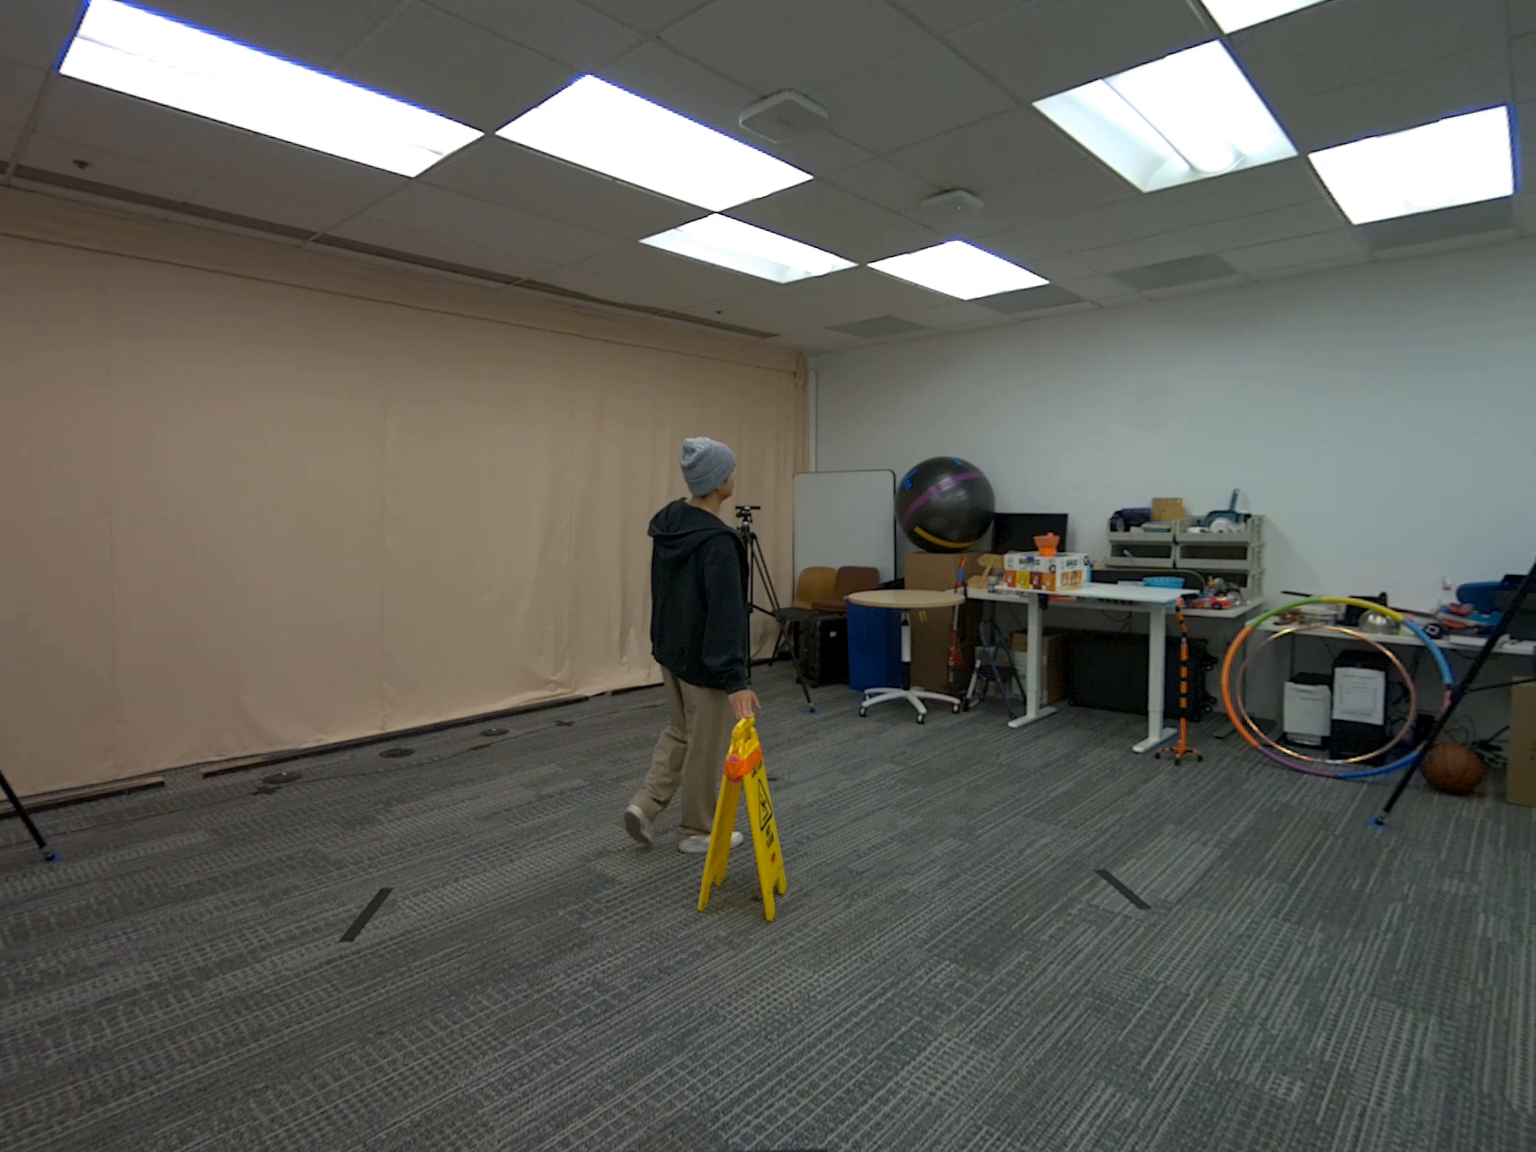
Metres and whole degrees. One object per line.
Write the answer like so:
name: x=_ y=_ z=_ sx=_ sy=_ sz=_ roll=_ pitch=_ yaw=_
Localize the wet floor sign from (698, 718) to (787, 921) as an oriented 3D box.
wet floor sign: x=-0.089 y=0.821 z=2.970 sx=0.295 sy=0.645 sz=0.278 roll=0 pitch=2 yaw=15
